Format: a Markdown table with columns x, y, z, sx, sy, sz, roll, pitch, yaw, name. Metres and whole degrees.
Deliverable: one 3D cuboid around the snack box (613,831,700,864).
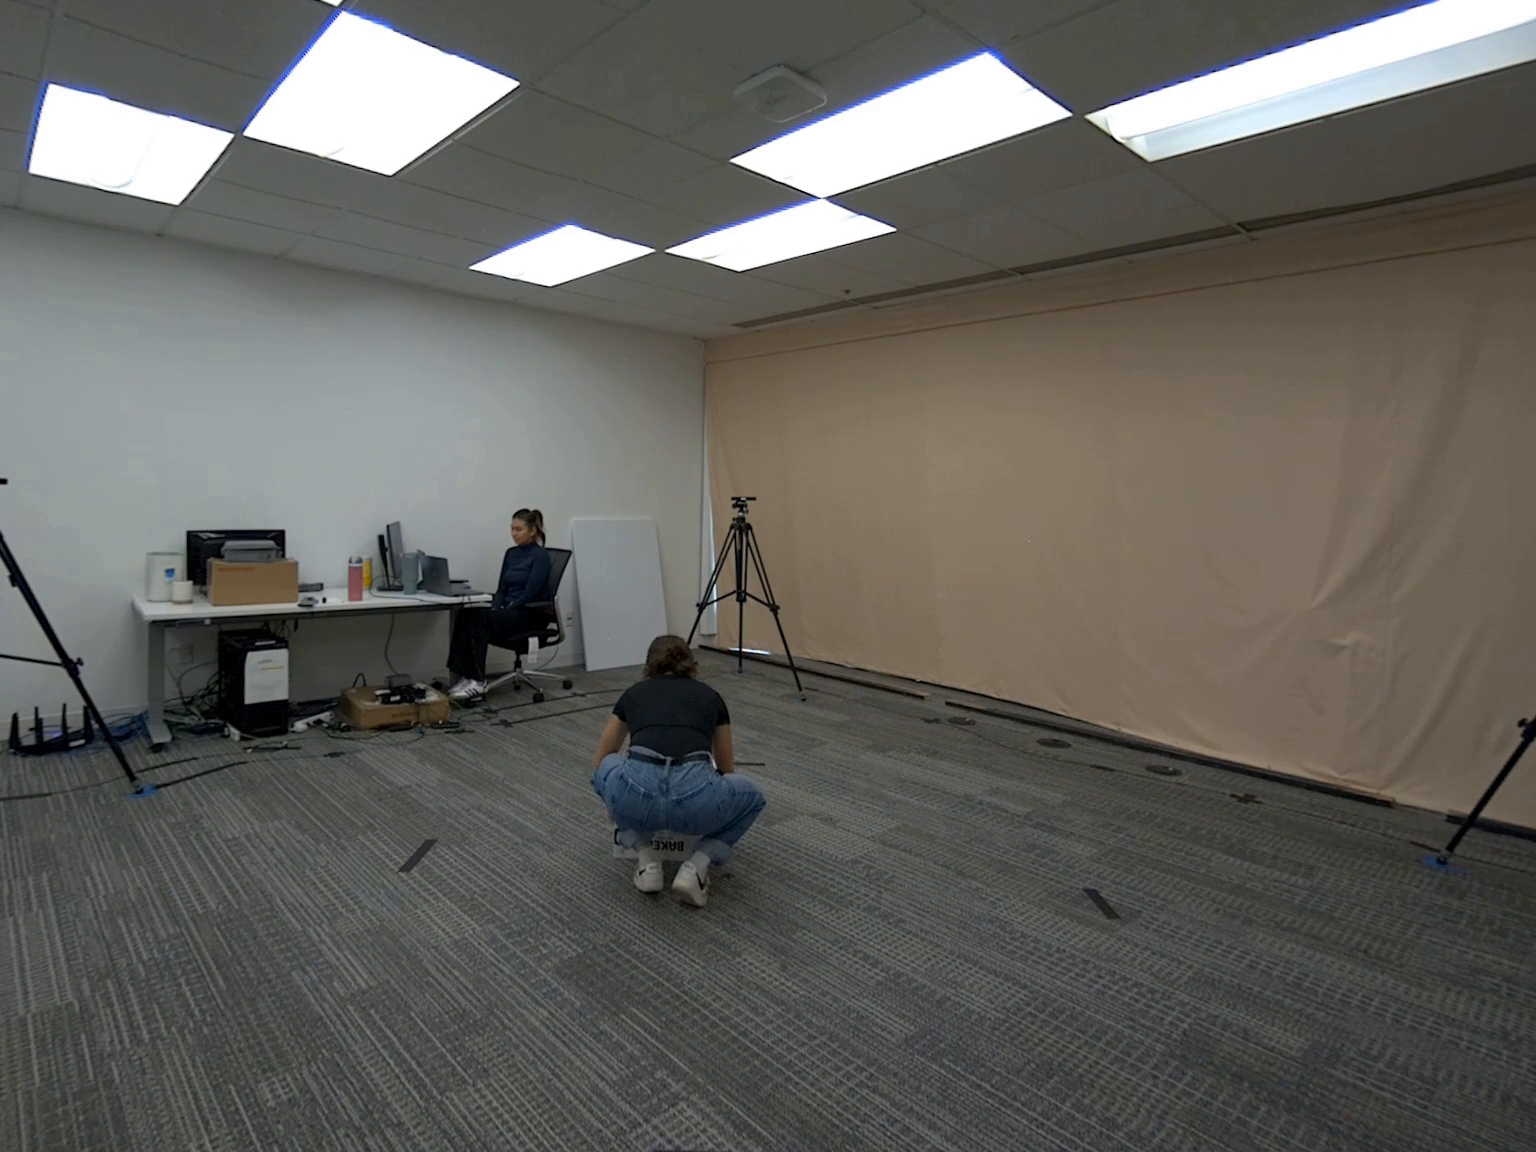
| x | y | z | sx | sy | sz | roll | pitch | yaw | name |
| --- | --- | --- | --- | --- | --- | --- | --- | --- | --- |
| -0.384 | 0.910 | 3.318 | 0.406 | 0.339 | 0.206 | 1 | 3 | 3 | snack box |
